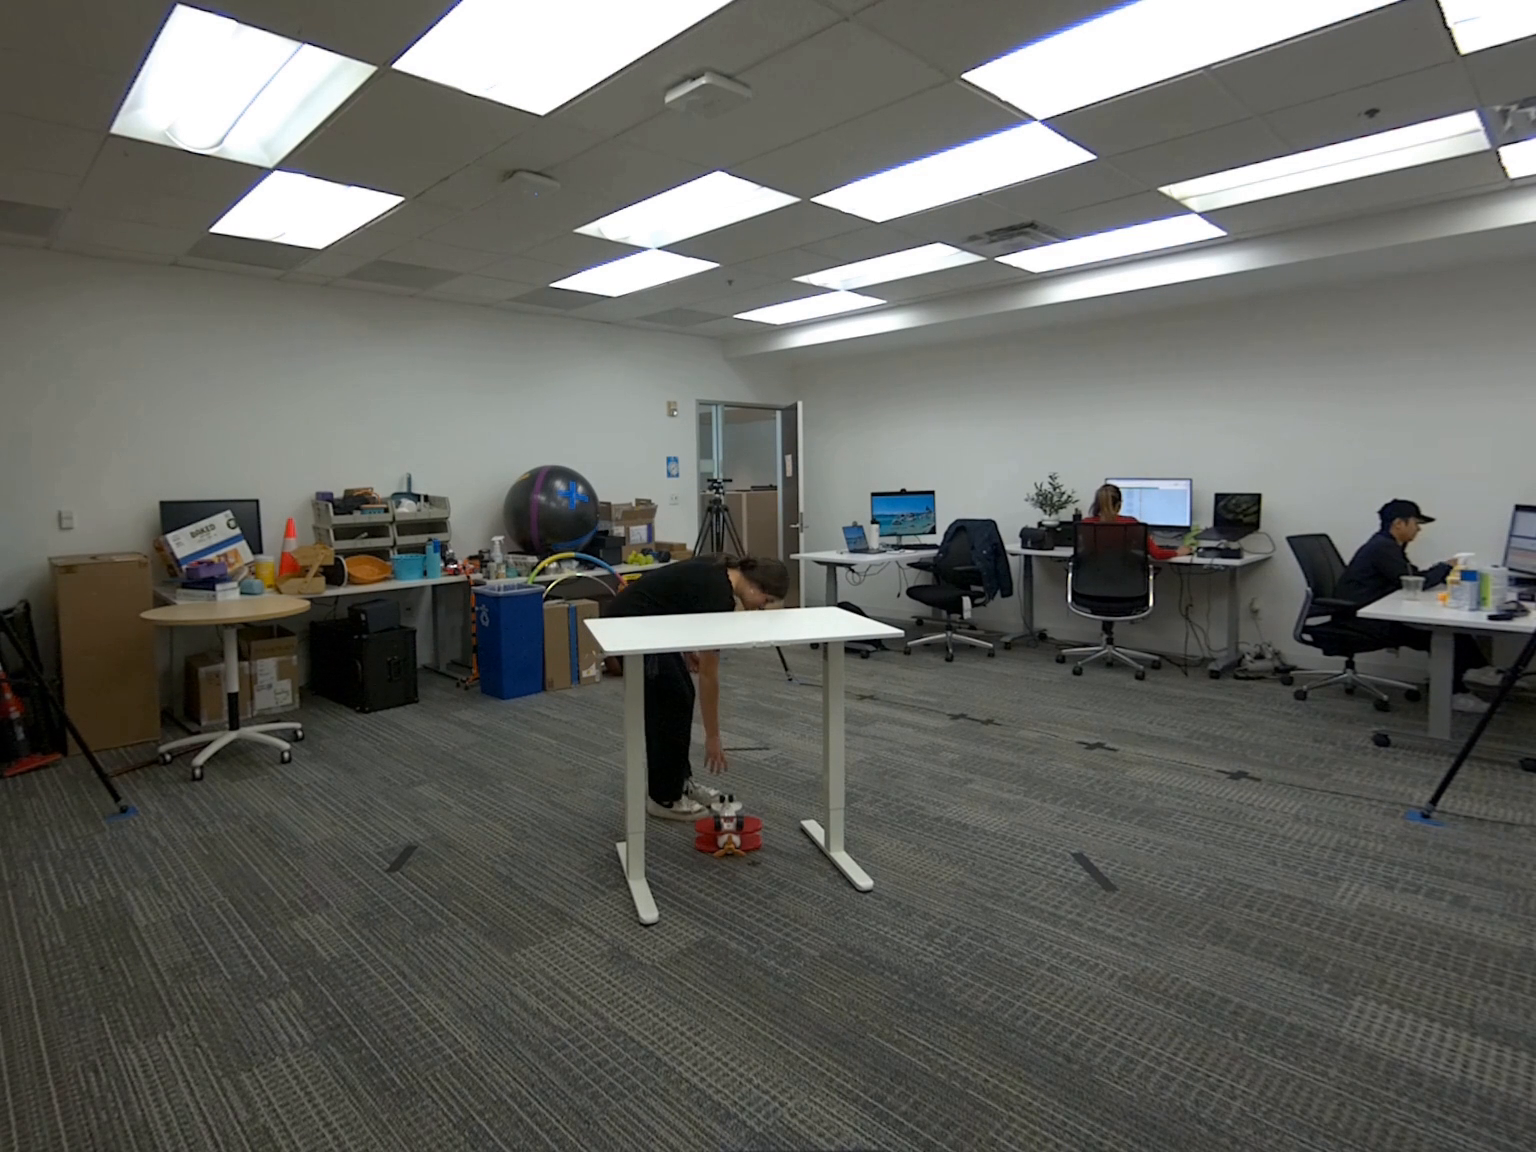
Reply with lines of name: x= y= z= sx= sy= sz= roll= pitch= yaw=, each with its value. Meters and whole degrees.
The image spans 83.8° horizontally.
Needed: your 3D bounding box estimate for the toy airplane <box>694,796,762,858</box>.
toy airplane: x=-0.135 y=0.947 z=3.257 sx=0.257 sy=0.155 sz=0.255 roll=4 pitch=11 yaw=24
